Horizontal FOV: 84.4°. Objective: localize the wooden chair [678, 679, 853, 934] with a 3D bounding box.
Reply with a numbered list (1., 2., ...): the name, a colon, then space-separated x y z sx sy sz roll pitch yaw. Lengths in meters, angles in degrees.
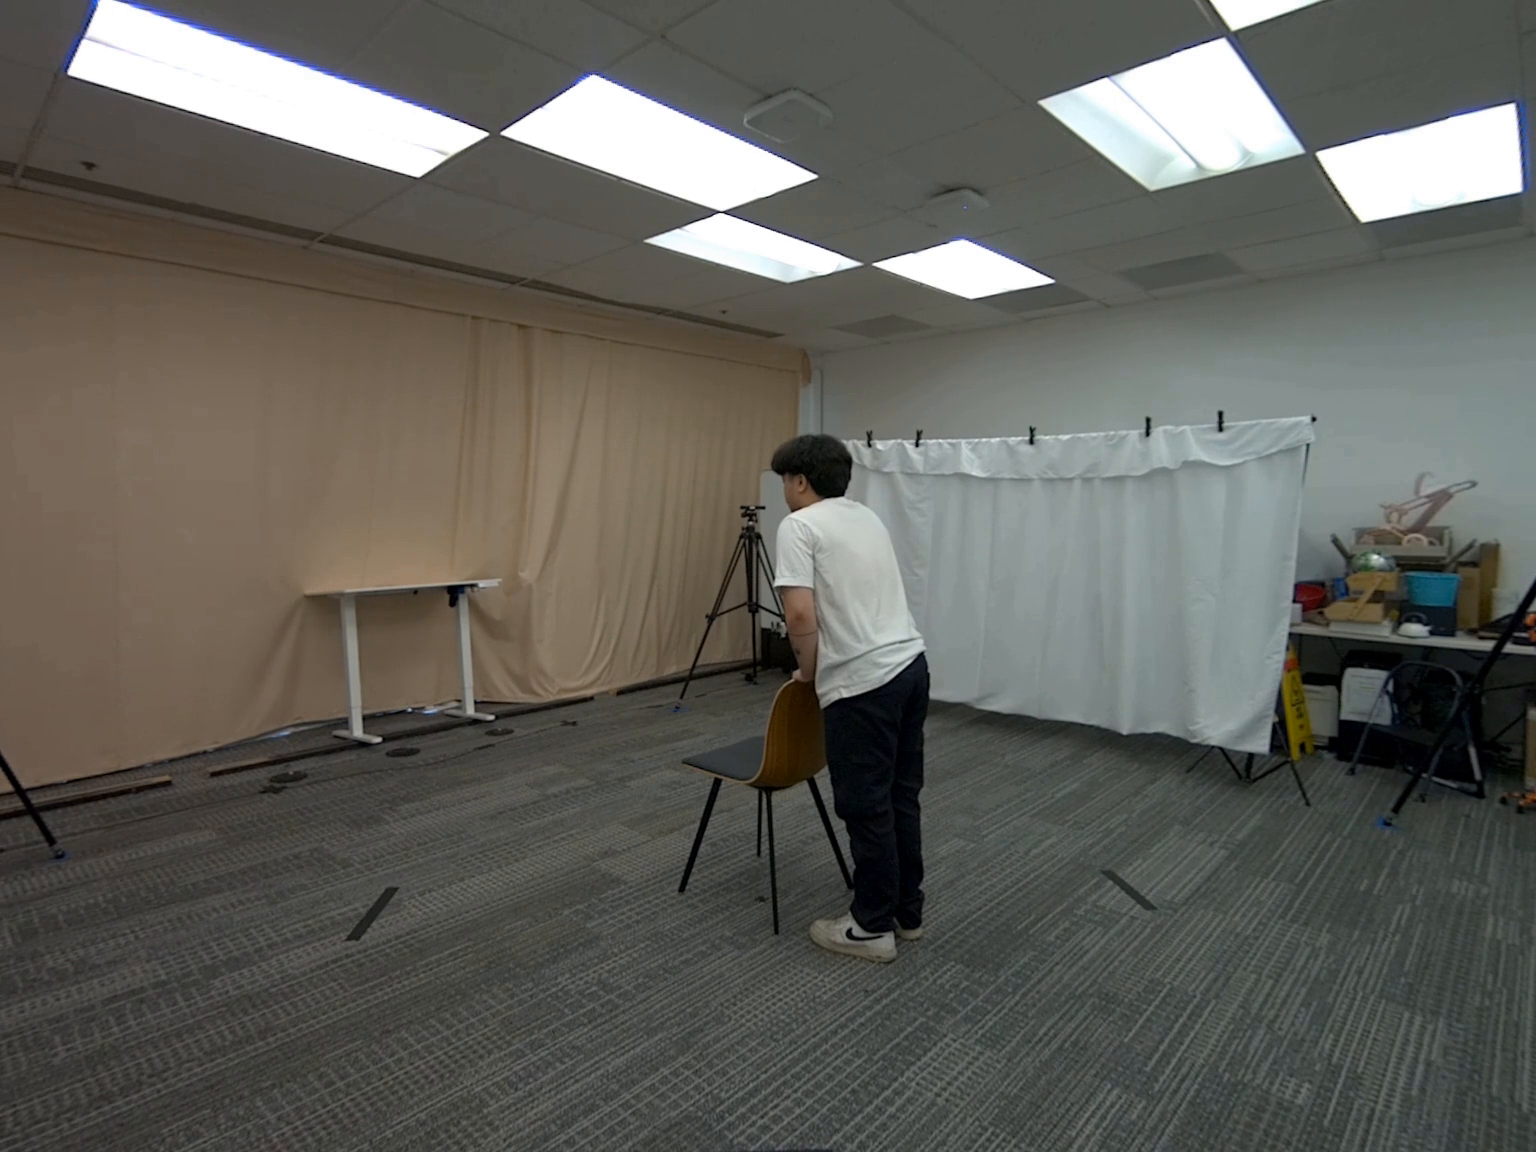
1. wooden chair: -0.011 0.716 3.025 0.541 0.874 0.463 9 9 41
